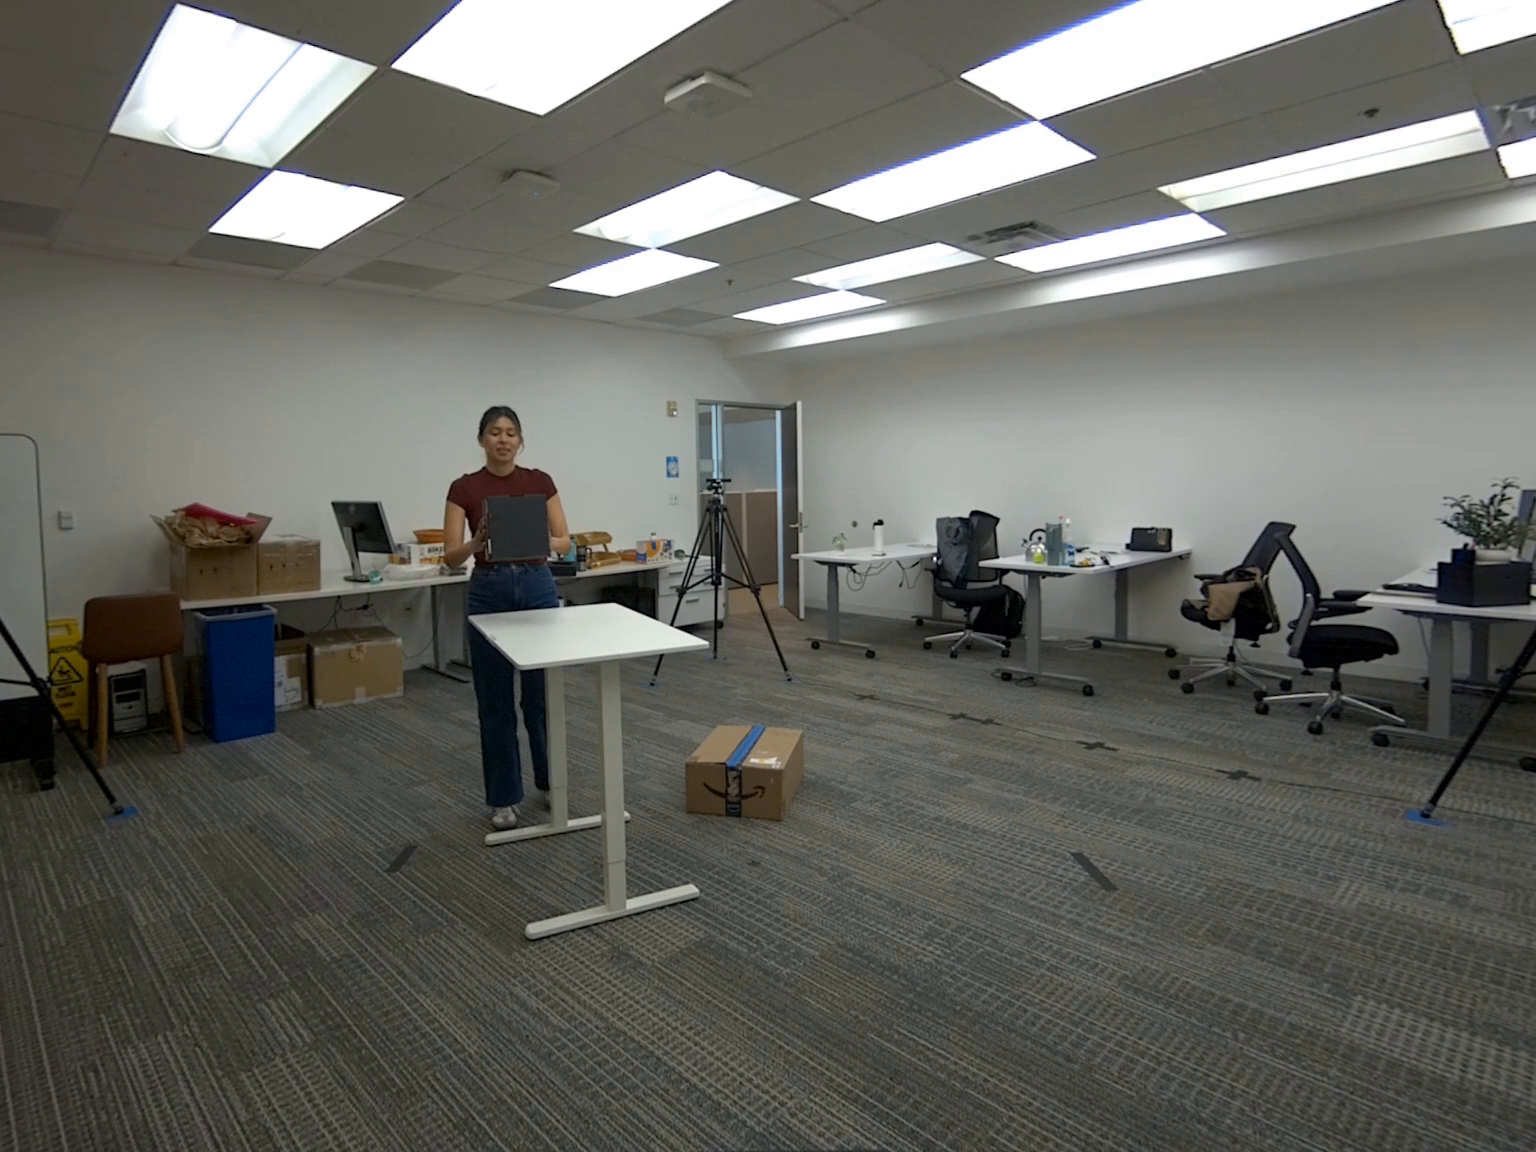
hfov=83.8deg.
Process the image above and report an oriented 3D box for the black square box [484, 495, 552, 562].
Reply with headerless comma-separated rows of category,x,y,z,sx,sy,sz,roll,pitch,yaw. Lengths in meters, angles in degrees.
black square box,-0.925,-0.178,3.132,0.213,0.228,0.158,-5,-1,-23
